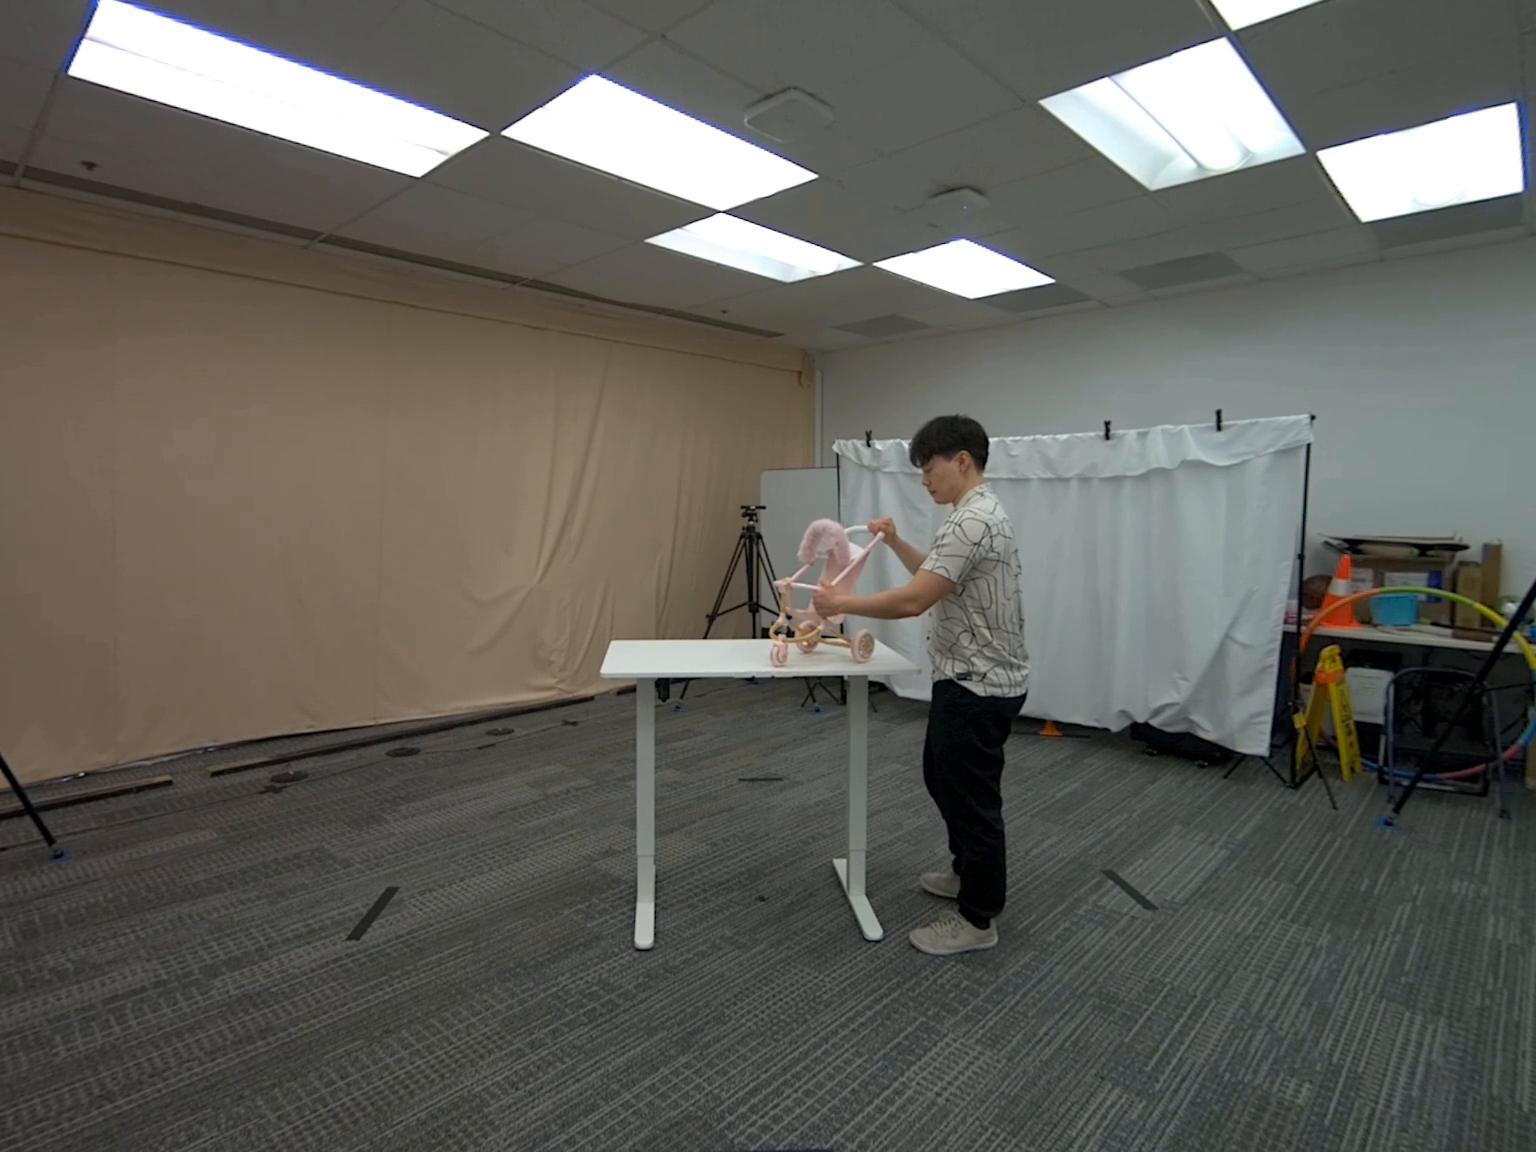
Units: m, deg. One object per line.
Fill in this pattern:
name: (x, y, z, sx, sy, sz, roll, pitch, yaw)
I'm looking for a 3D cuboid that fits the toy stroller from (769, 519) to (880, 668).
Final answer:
toy stroller: (0.183, 0.055, 2.791, 0.330, 0.536, 0.290, 16, -7, -35)
